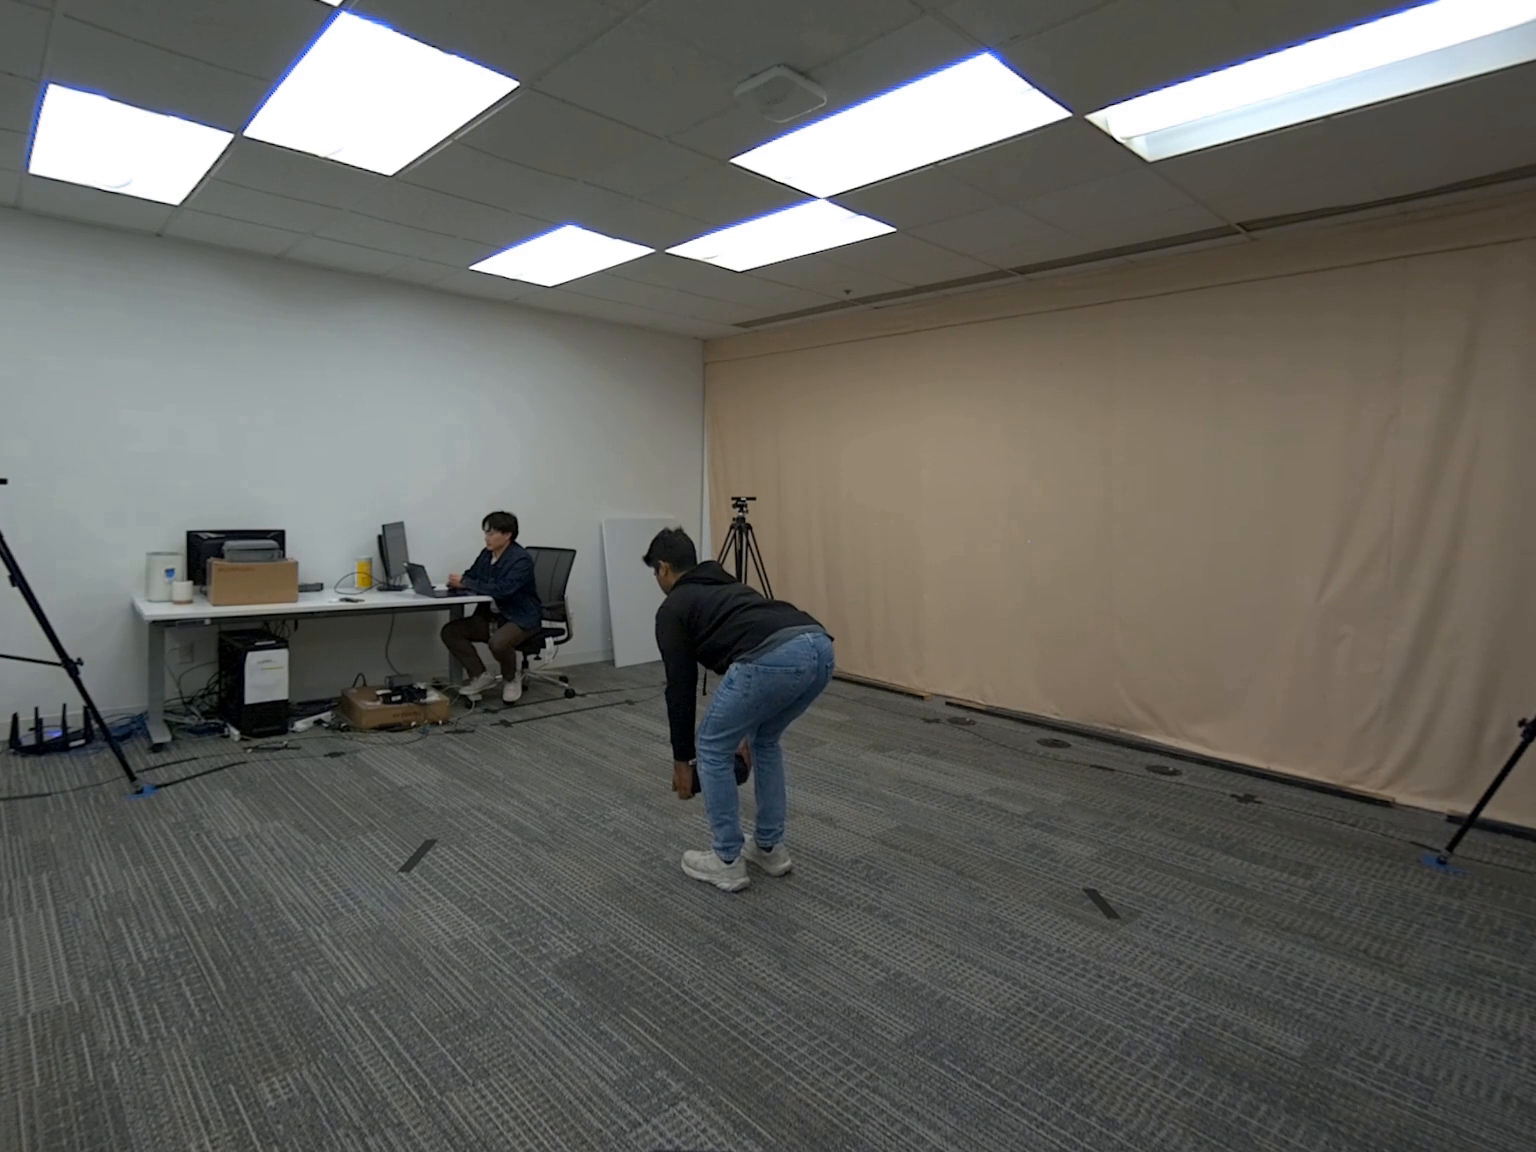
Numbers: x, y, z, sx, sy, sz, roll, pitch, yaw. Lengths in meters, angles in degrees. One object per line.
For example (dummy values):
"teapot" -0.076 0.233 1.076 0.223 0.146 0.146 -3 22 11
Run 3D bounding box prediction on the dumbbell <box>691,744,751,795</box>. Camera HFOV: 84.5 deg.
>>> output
"dumbbell" -0.220 0.767 3.245 0.286 0.108 0.127 0 38 -44
